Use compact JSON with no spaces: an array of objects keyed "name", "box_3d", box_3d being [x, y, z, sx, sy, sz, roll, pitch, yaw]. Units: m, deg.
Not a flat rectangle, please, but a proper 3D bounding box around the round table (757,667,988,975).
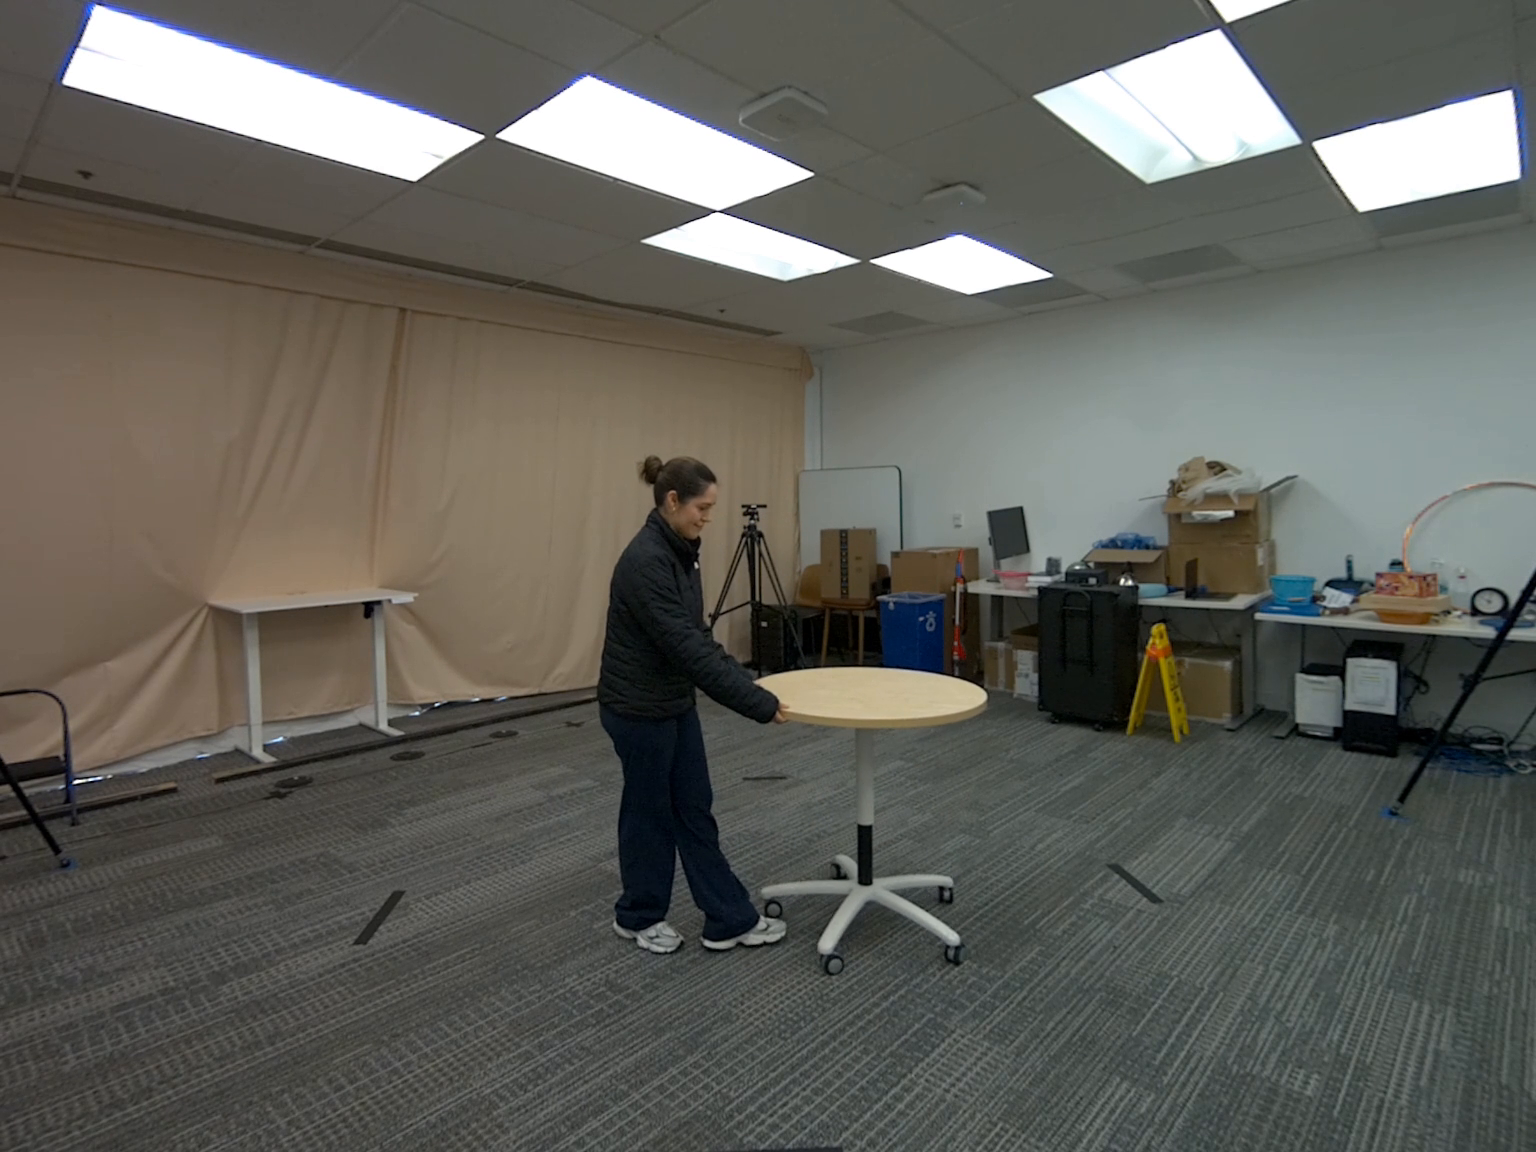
[{"name":"round table","box_3d":[0.329,0.760,2.770,0.784,0.785,0.788,-1,4,-2]}]
